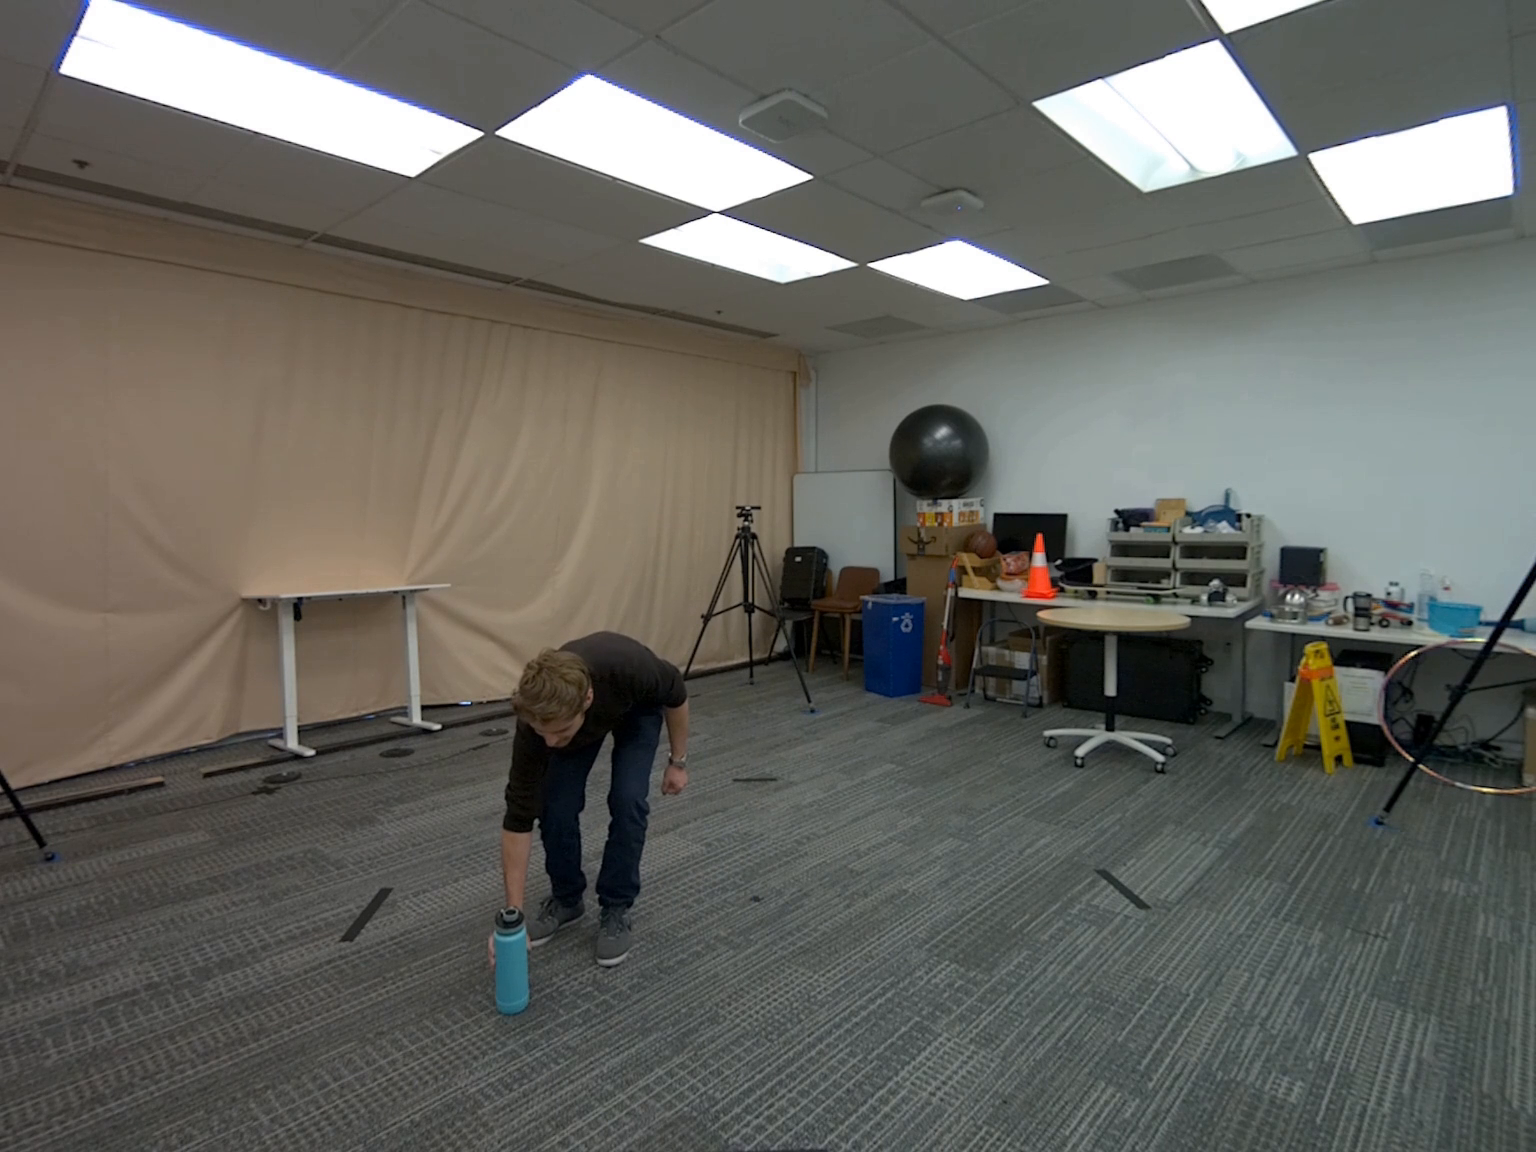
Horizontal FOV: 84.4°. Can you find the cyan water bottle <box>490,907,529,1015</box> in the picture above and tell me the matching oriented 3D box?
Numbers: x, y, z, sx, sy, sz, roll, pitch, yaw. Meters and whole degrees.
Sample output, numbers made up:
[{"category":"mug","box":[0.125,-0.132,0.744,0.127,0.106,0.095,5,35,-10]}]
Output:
[{"category":"cyan water bottle","box":[-0.713,1.053,2.330,0.092,0.282,0.093,-1,7,-2]}]
